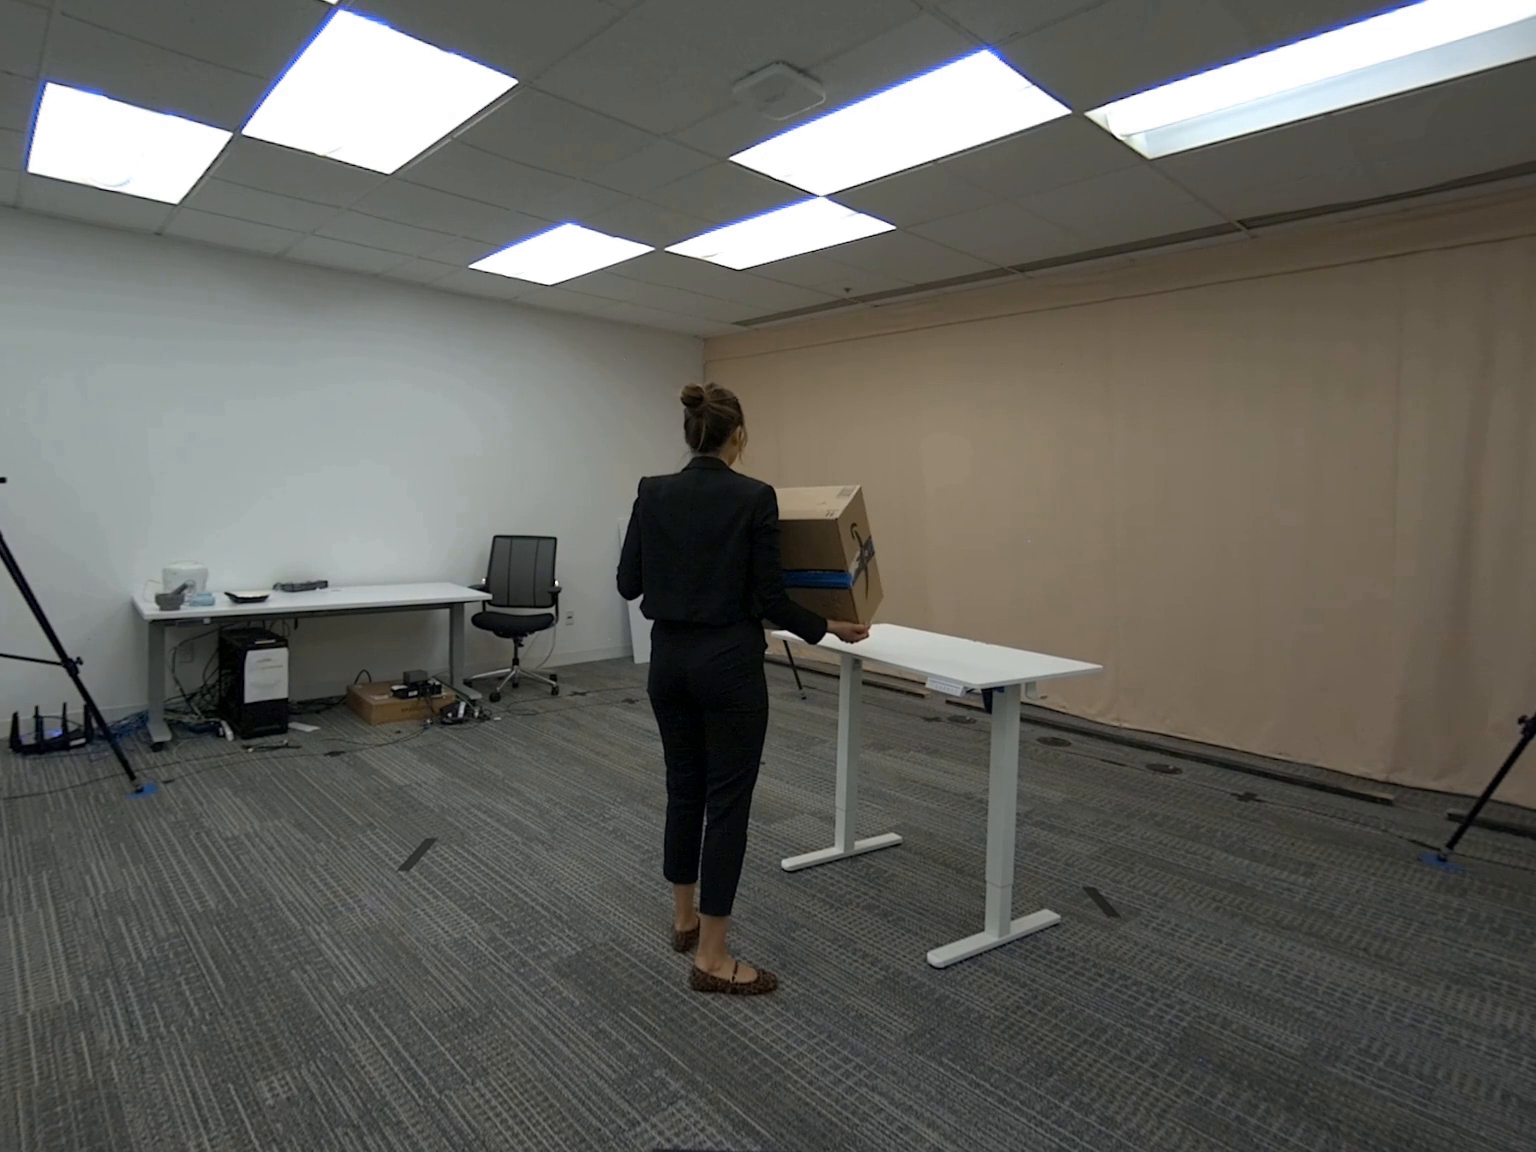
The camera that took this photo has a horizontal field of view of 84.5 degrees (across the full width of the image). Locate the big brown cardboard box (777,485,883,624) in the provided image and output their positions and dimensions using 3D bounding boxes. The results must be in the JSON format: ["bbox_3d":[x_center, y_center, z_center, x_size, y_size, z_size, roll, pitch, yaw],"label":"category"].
[{"bbox_3d":[0.031,-0.051,2.726,0.601,0.408,0.233,0,31,30],"label":"big brown cardboard box"}]
